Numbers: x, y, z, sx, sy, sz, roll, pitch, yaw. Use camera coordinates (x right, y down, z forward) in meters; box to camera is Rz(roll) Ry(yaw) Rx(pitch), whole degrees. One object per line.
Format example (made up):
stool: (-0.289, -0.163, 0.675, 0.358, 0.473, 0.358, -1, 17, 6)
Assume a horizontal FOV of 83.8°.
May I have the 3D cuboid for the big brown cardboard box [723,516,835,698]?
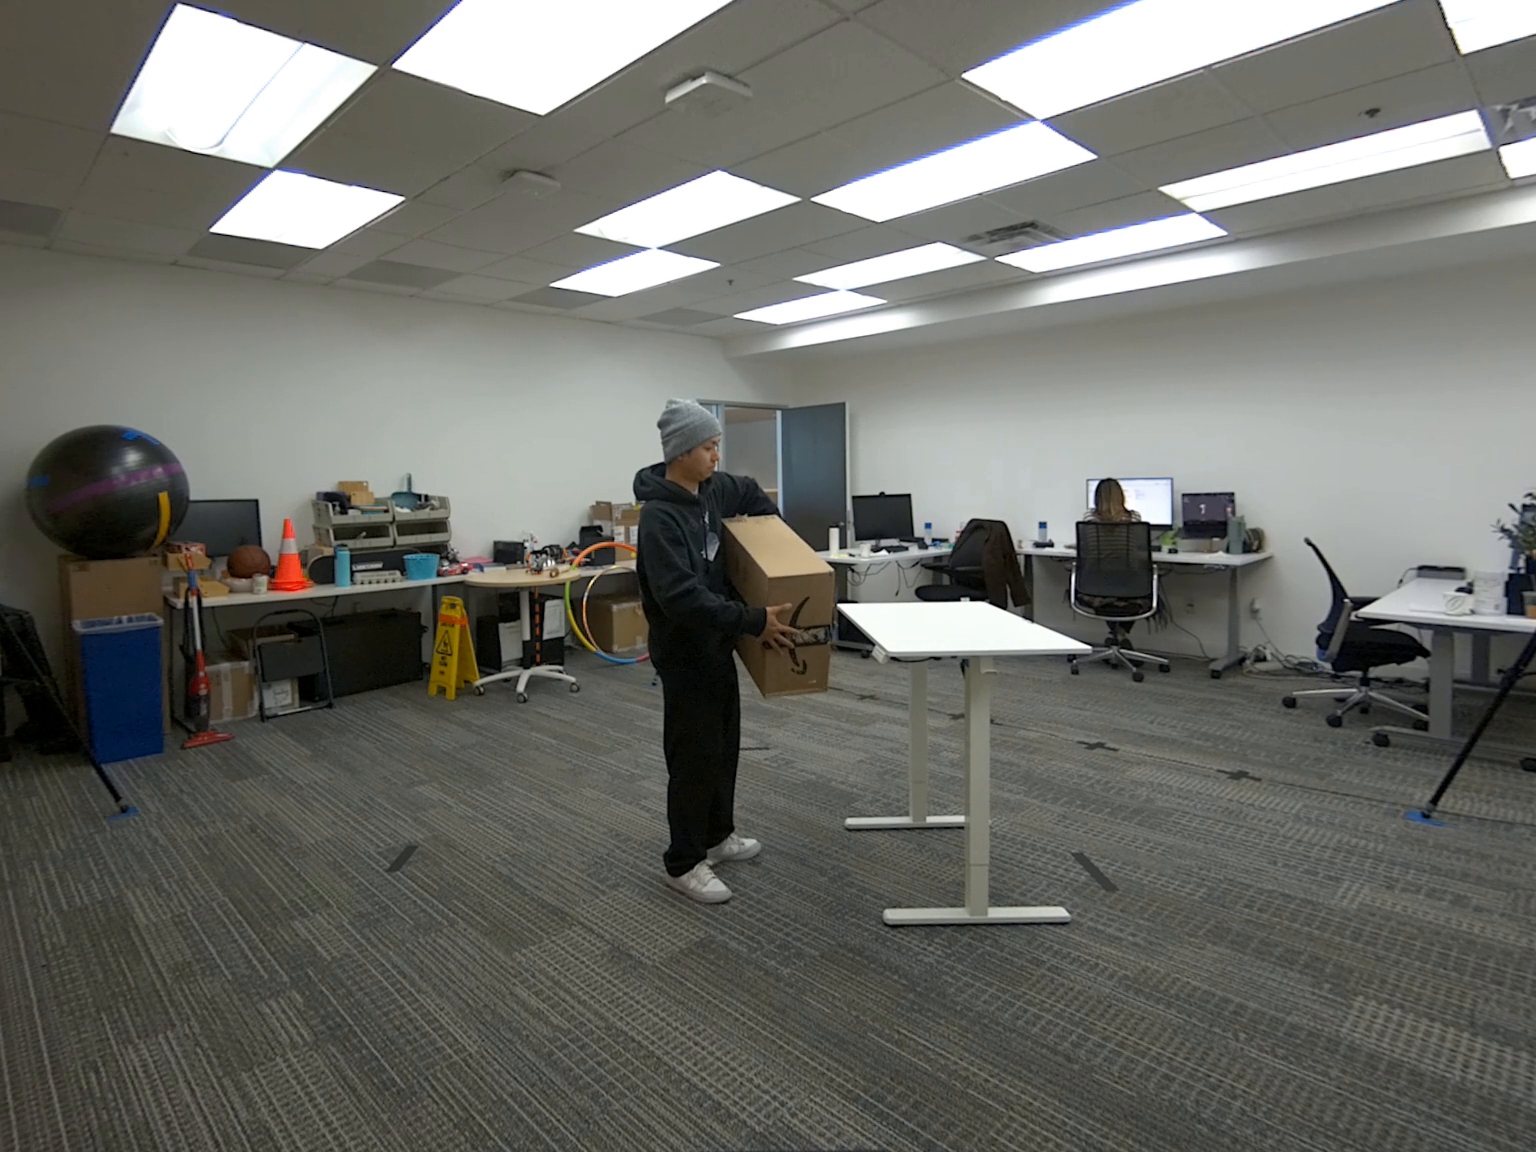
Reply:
big brown cardboard box: (0.018, 0.087, 2.899, 0.230, 0.410, 0.608, -5, 22, -17)
